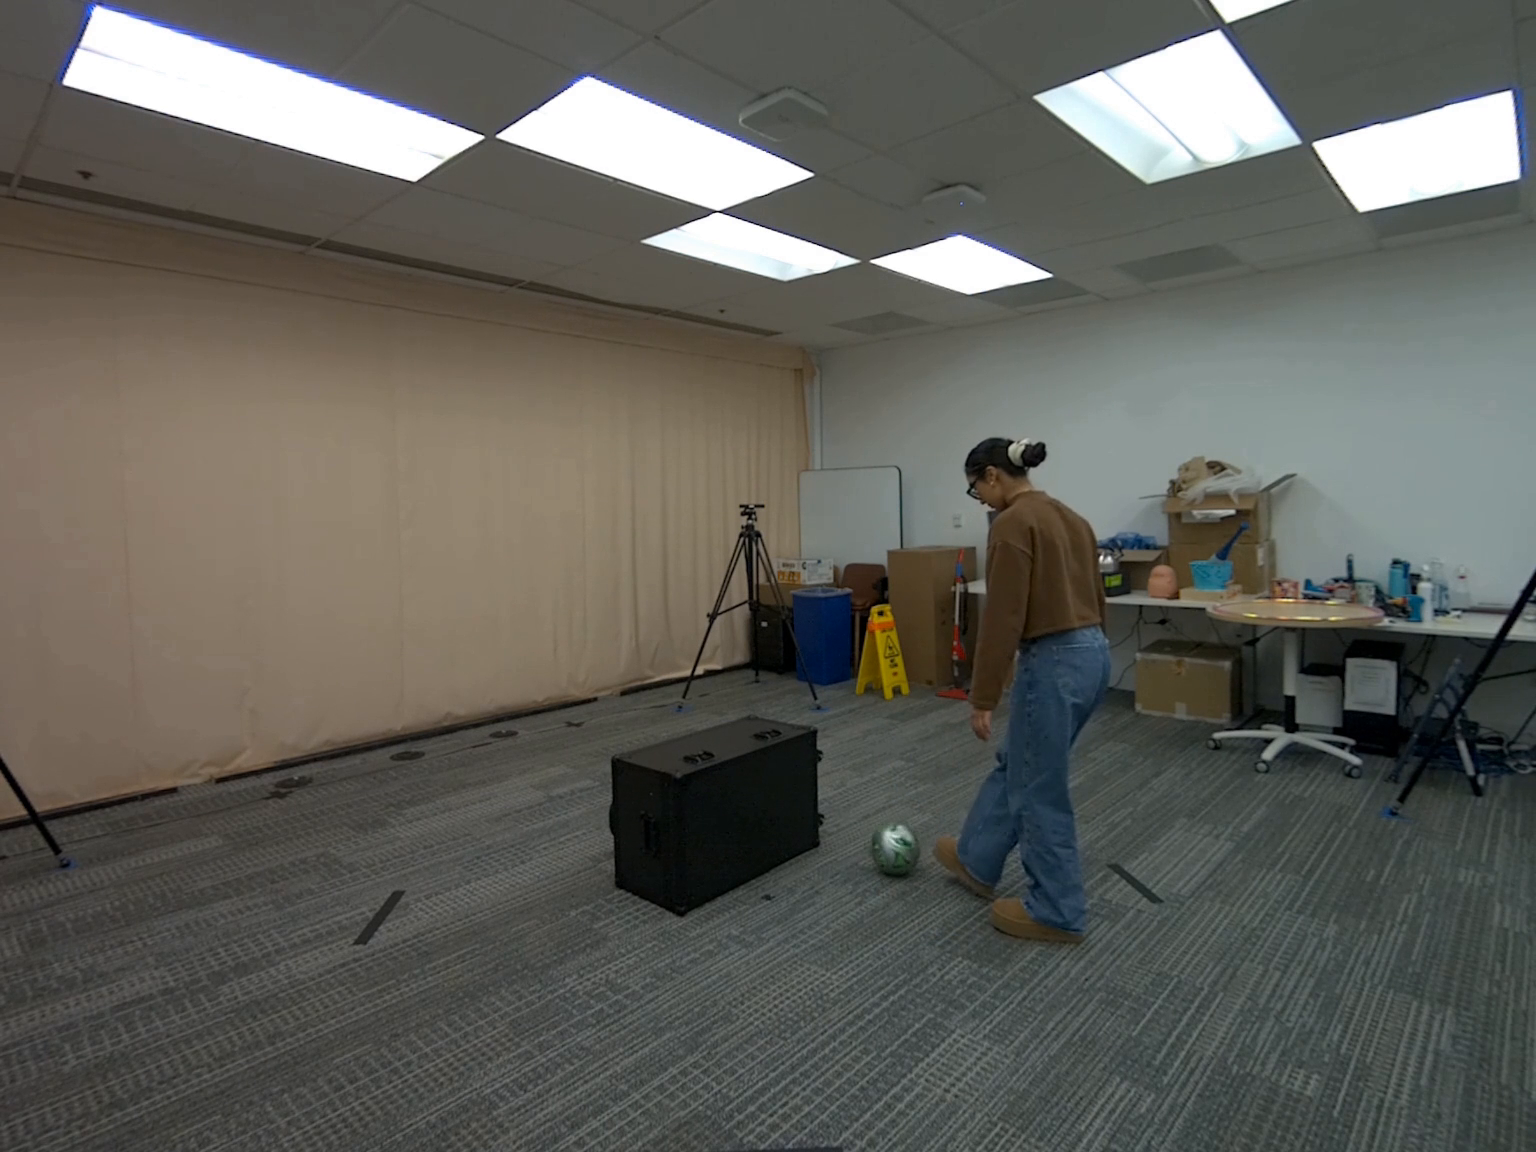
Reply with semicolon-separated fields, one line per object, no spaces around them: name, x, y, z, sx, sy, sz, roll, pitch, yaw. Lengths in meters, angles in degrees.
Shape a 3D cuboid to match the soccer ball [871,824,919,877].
soccer ball;0.497;1.019;3.149;0.187;0.187;0.188;-1;4;-2
